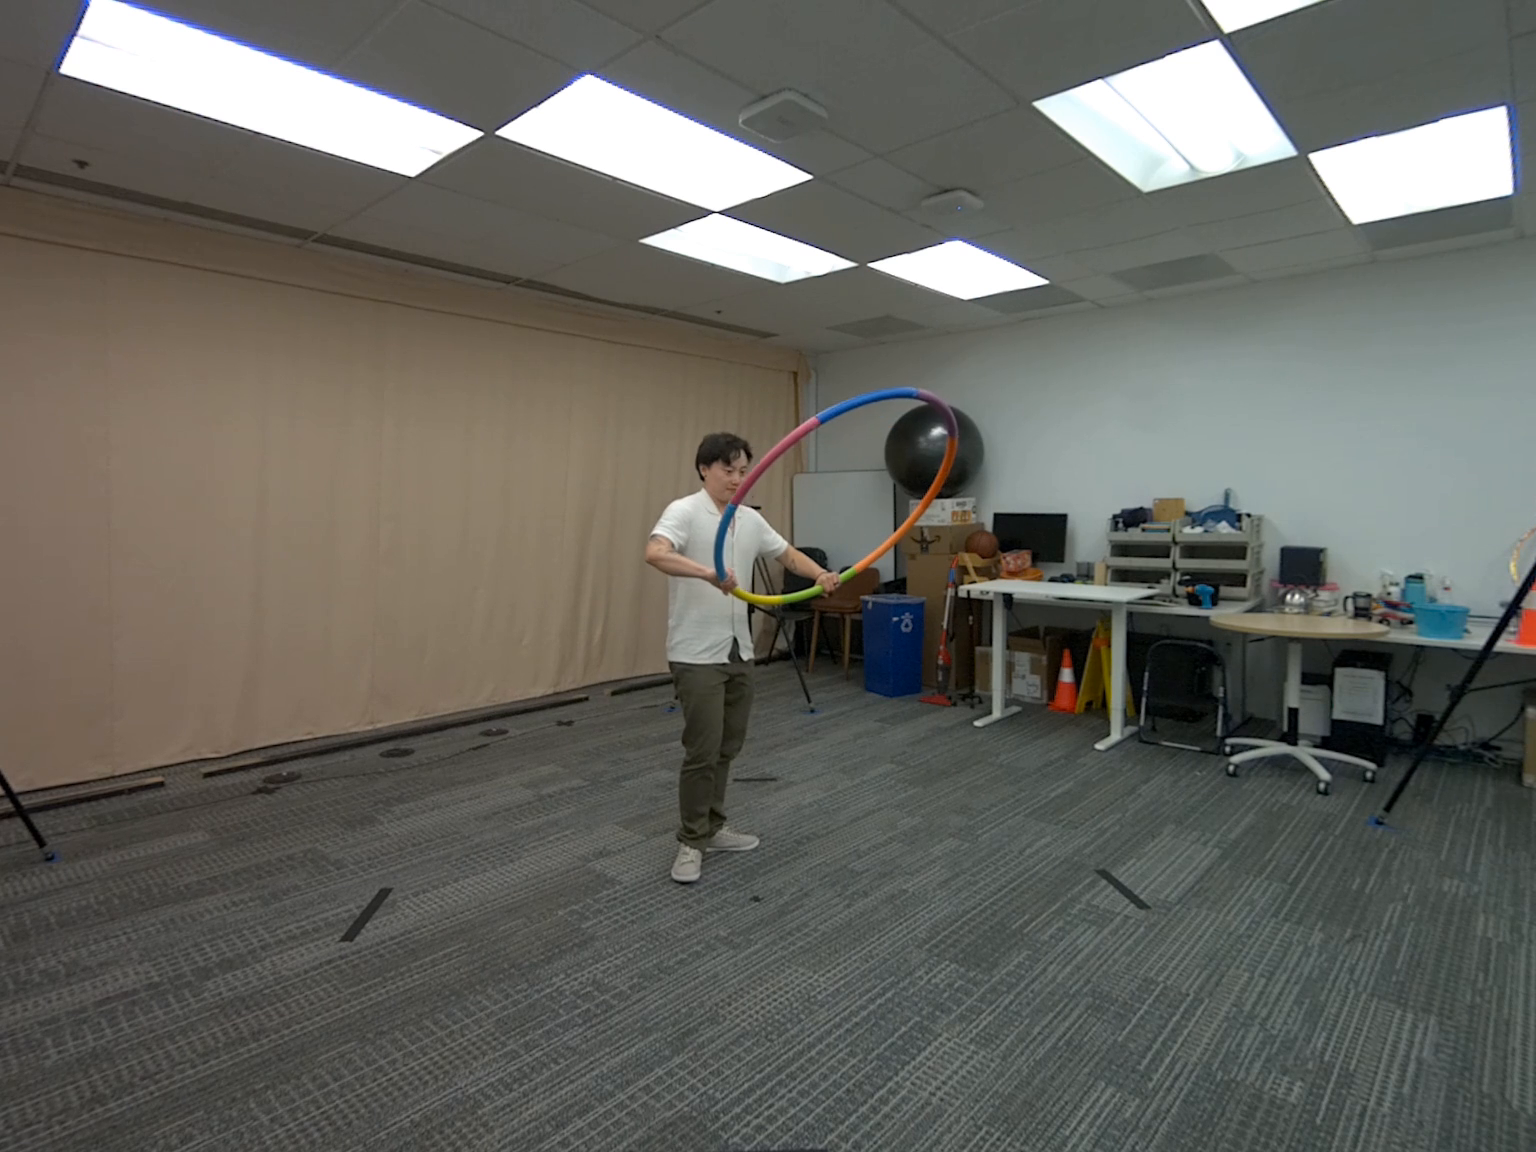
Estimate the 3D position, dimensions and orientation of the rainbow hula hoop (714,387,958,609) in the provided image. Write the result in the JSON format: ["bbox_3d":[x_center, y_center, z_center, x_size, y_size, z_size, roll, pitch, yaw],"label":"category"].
[{"bbox_3d":[0.246,-0.241,2.941,0.949,0.979,0.036,-3,48,-41],"label":"rainbow hula hoop"}]
